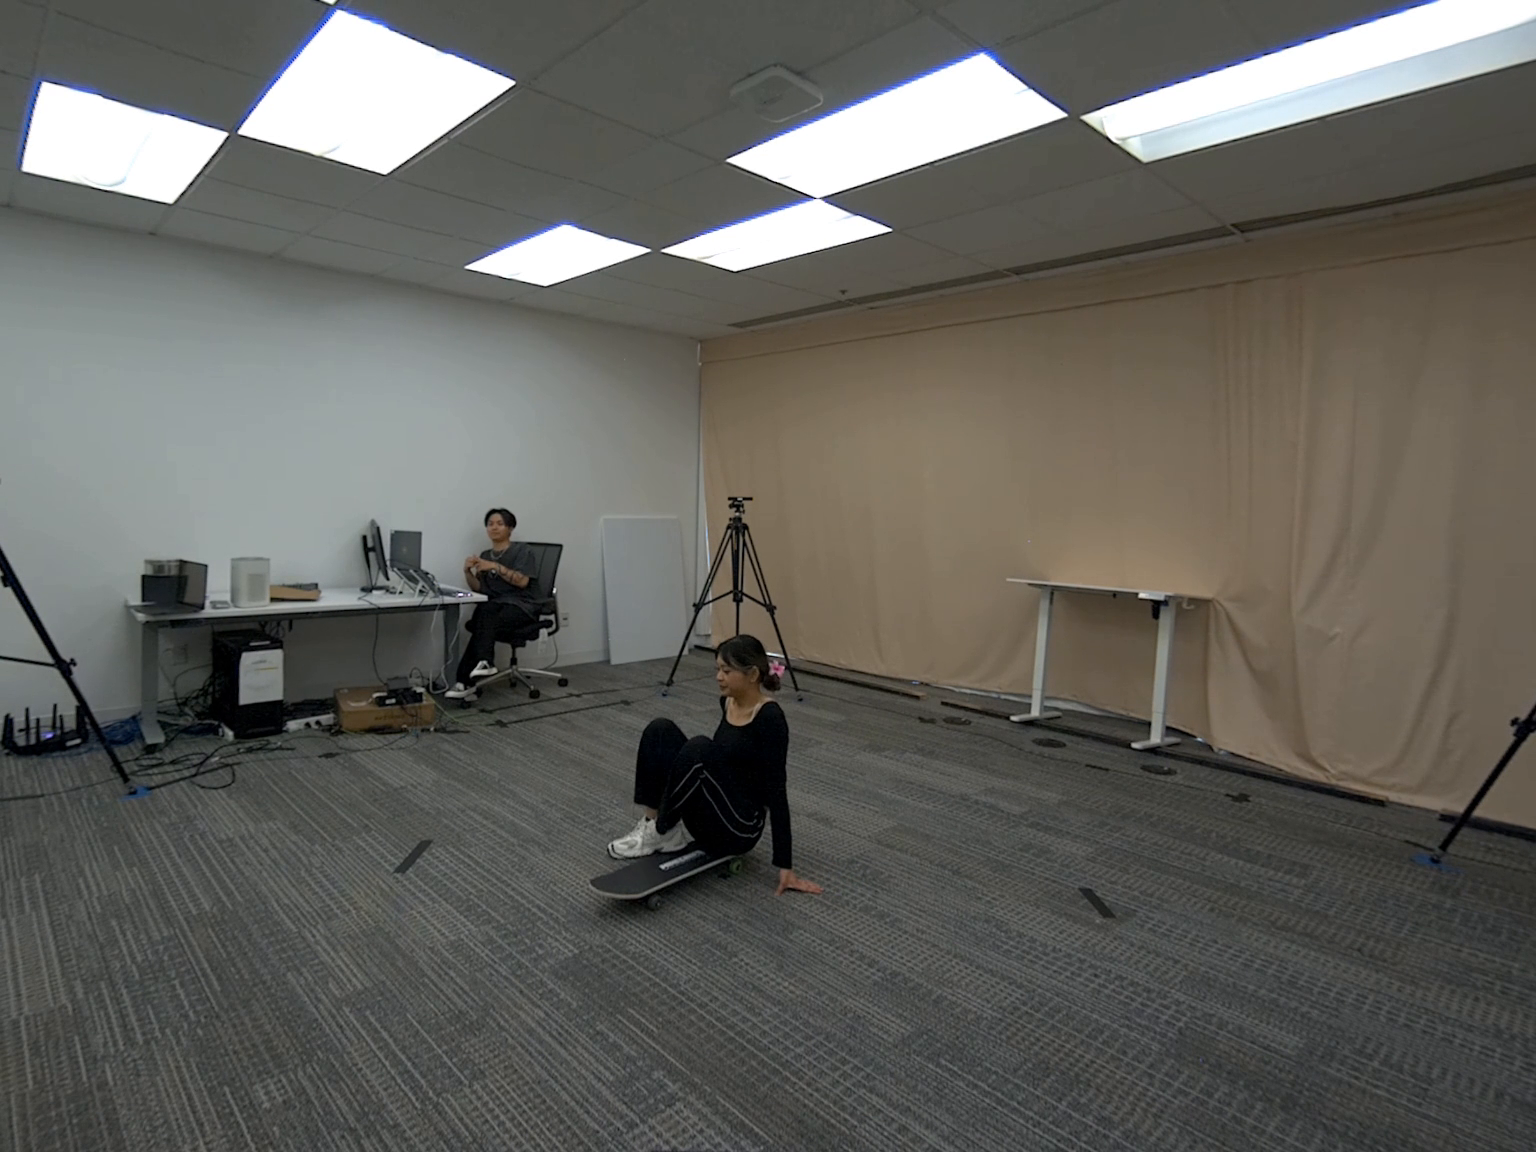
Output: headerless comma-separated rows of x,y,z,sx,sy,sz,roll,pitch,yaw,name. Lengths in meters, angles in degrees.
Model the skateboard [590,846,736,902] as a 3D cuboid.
-0.328,1.053,3.034,0.198,0.110,0.768,6,7,40,skateboard
